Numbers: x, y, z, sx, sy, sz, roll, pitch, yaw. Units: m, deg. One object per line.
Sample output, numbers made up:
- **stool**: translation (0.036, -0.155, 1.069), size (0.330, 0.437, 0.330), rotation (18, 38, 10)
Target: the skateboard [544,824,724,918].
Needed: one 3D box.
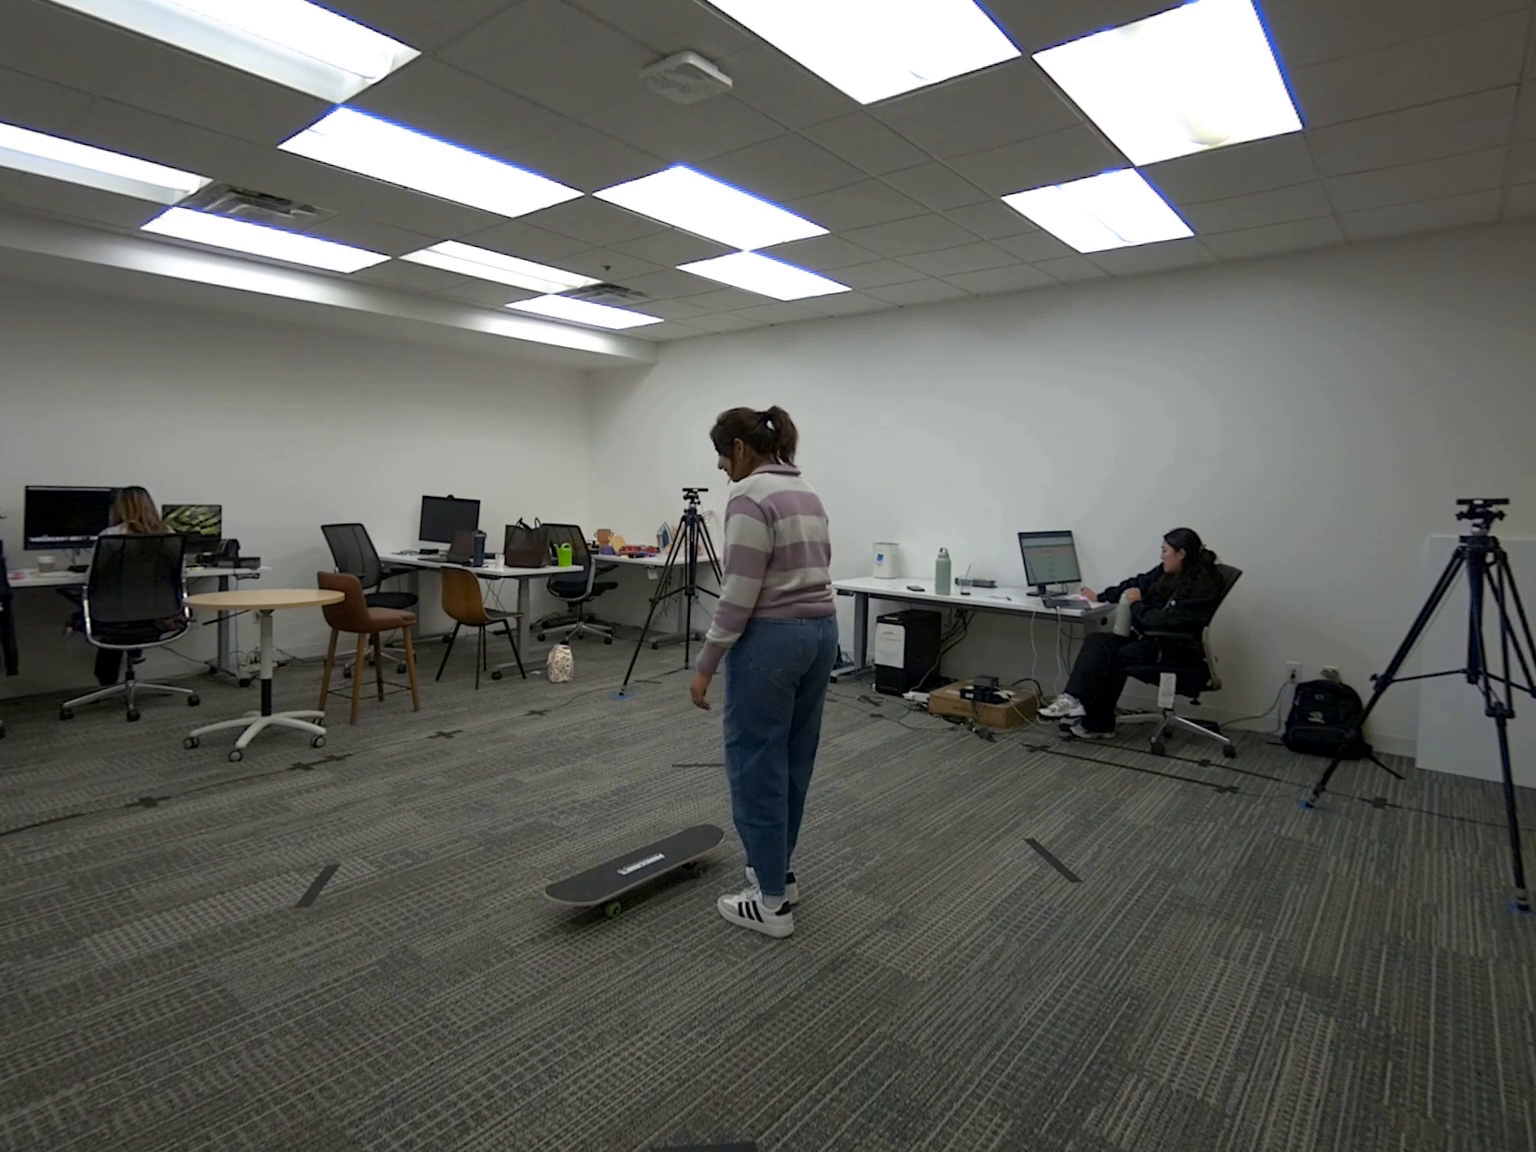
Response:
- **skateboard**: translation (-0.444, 1.024, 2.945), size (0.200, 0.110, 0.762), rotation (5, 7, 39)
